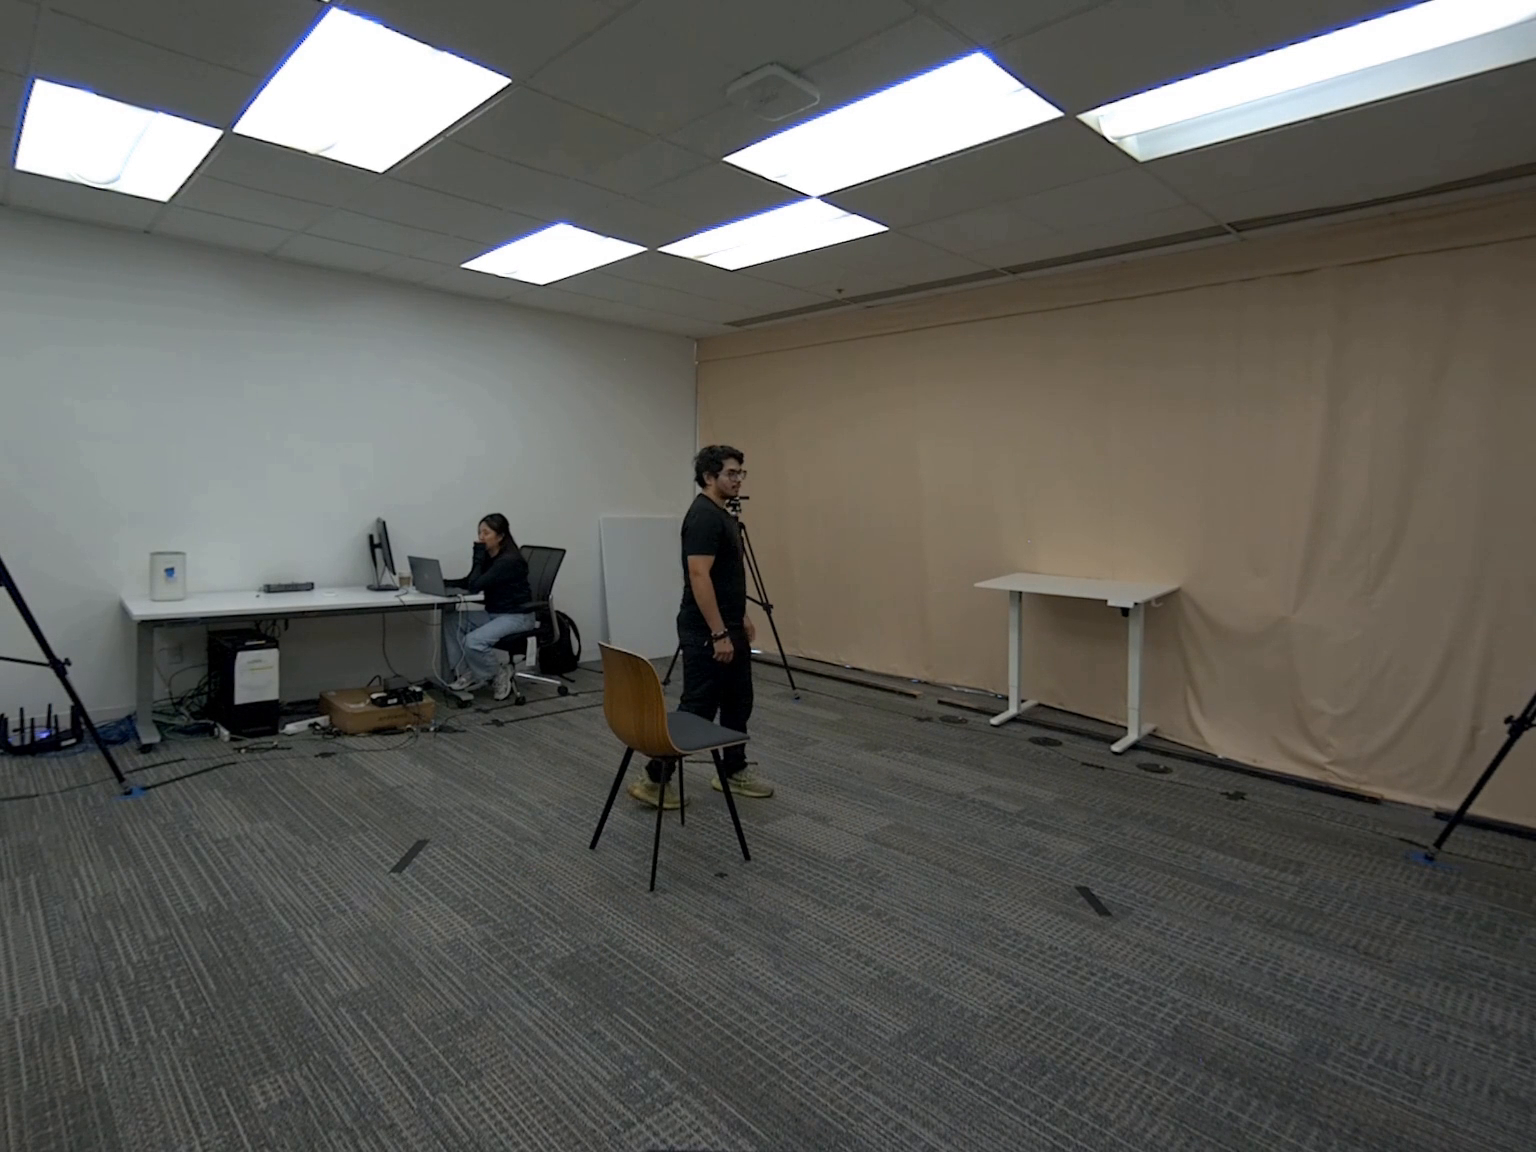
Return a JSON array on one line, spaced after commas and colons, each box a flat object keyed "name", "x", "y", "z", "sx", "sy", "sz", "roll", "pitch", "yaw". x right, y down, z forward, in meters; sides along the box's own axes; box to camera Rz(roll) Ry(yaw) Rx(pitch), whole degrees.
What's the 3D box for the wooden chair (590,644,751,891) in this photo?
[{"name": "wooden chair", "x": -0.376, "y": 0.660, "z": 3.246, "sx": 0.512, "sy": 0.873, "sz": 0.490, "roll": -7, "pitch": 8, "yaw": -38}]
